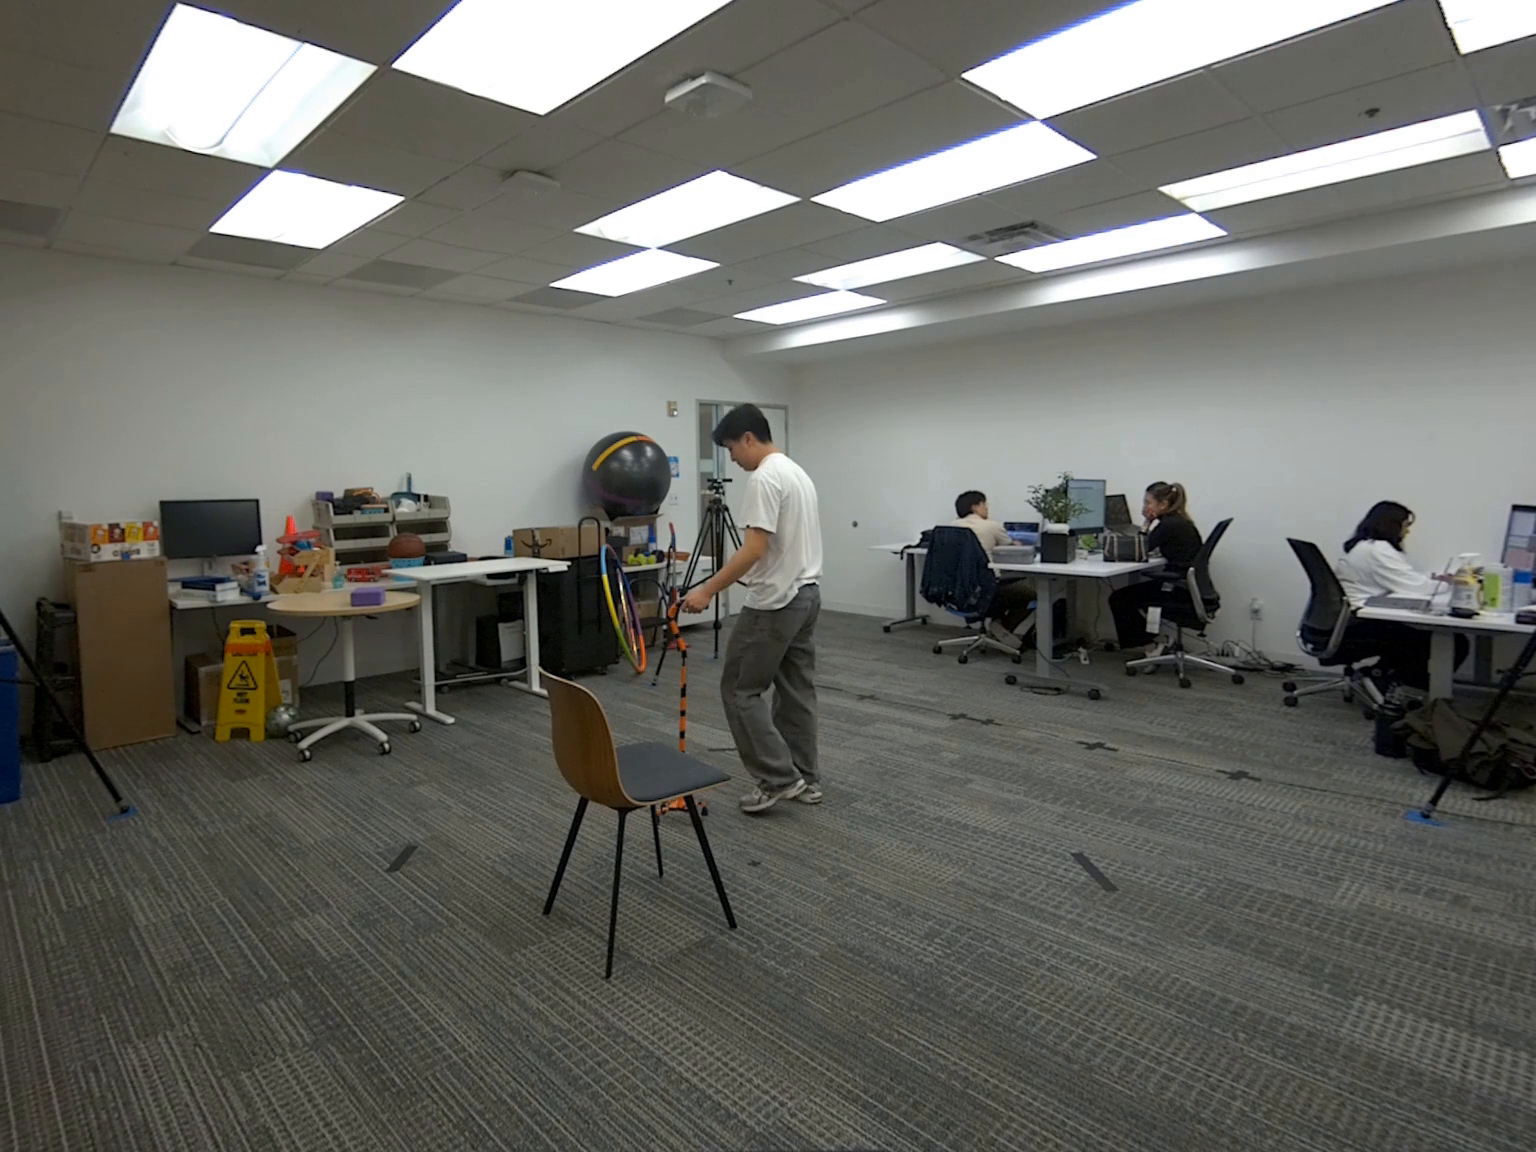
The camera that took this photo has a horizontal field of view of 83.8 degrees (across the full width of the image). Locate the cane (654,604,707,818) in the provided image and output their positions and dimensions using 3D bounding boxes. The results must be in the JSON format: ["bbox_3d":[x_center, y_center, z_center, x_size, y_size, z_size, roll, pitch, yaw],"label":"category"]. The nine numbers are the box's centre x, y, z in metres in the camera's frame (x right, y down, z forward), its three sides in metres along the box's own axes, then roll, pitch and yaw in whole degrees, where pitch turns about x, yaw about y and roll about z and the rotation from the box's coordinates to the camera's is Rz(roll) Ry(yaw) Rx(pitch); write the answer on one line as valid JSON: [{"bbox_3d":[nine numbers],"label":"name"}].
[{"bbox_3d":[-0.349,0.541,3.499,0.208,0.904,0.151,2,4,7],"label":"cane"}]
